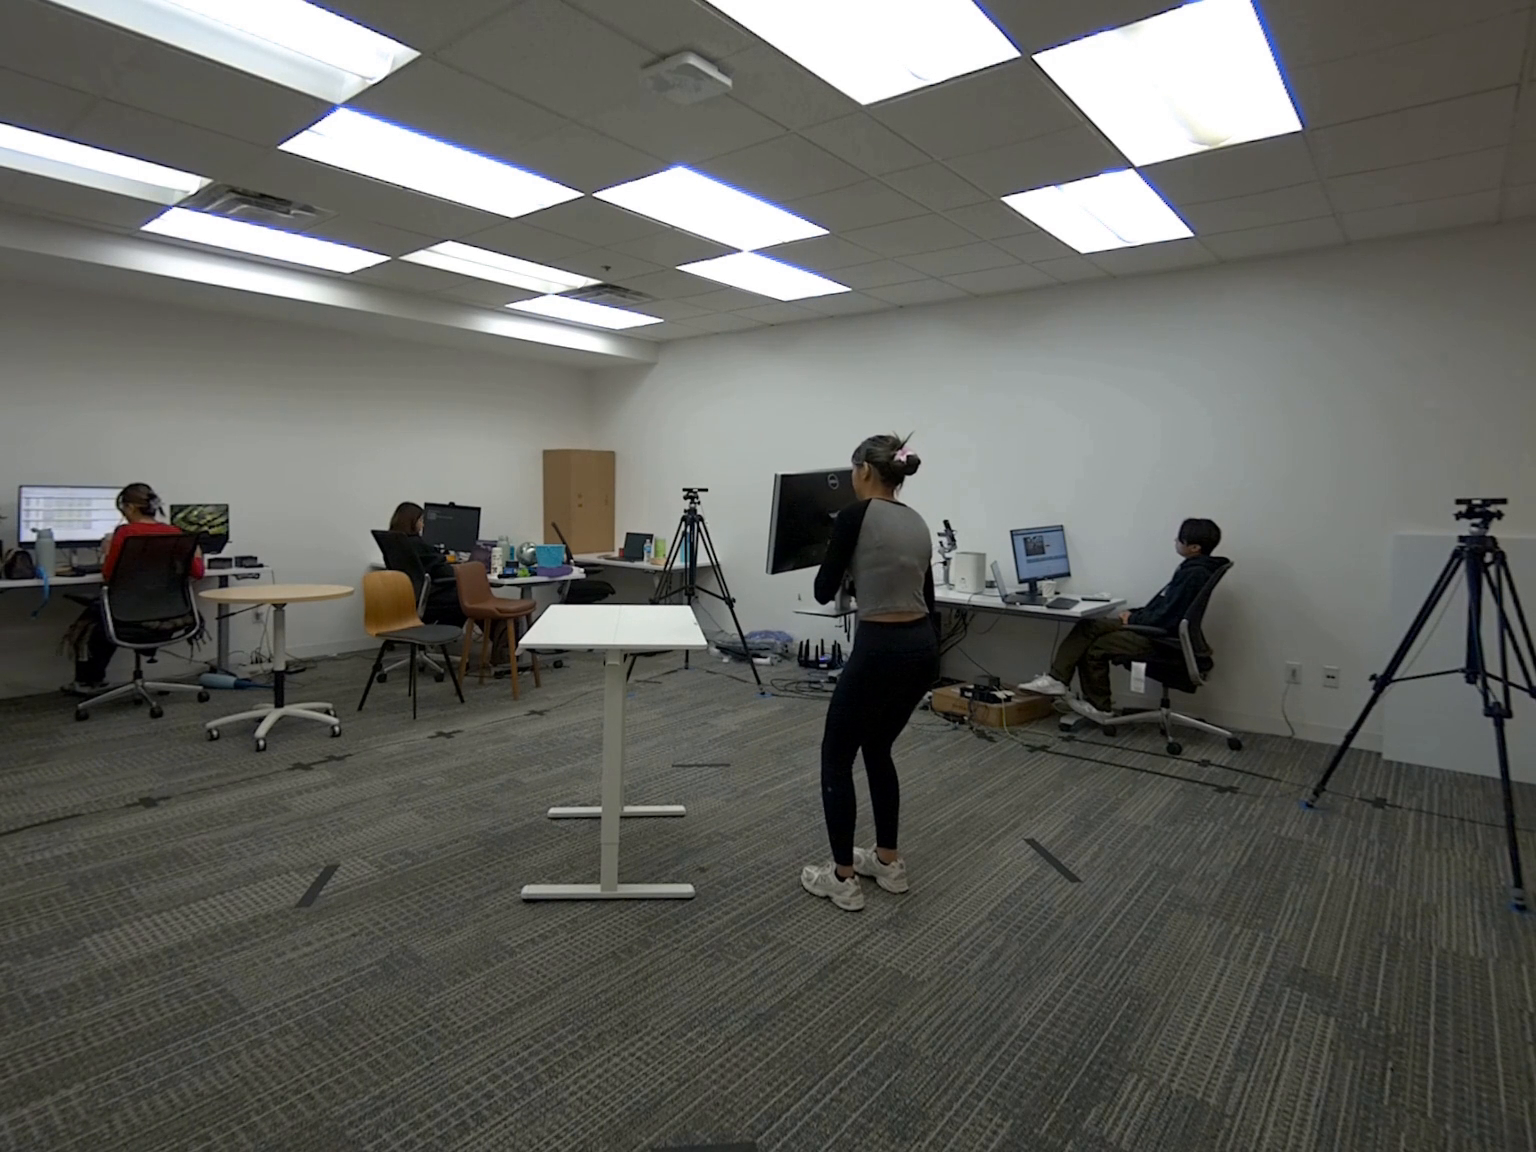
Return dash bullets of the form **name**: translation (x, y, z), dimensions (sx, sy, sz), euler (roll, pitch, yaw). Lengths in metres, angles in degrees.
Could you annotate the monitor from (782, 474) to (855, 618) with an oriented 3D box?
- **monitor**: translation (0.226, -0.130, 3.150), dimensions (0.193, 0.520, 0.525), euler (-1, 6, 40)
